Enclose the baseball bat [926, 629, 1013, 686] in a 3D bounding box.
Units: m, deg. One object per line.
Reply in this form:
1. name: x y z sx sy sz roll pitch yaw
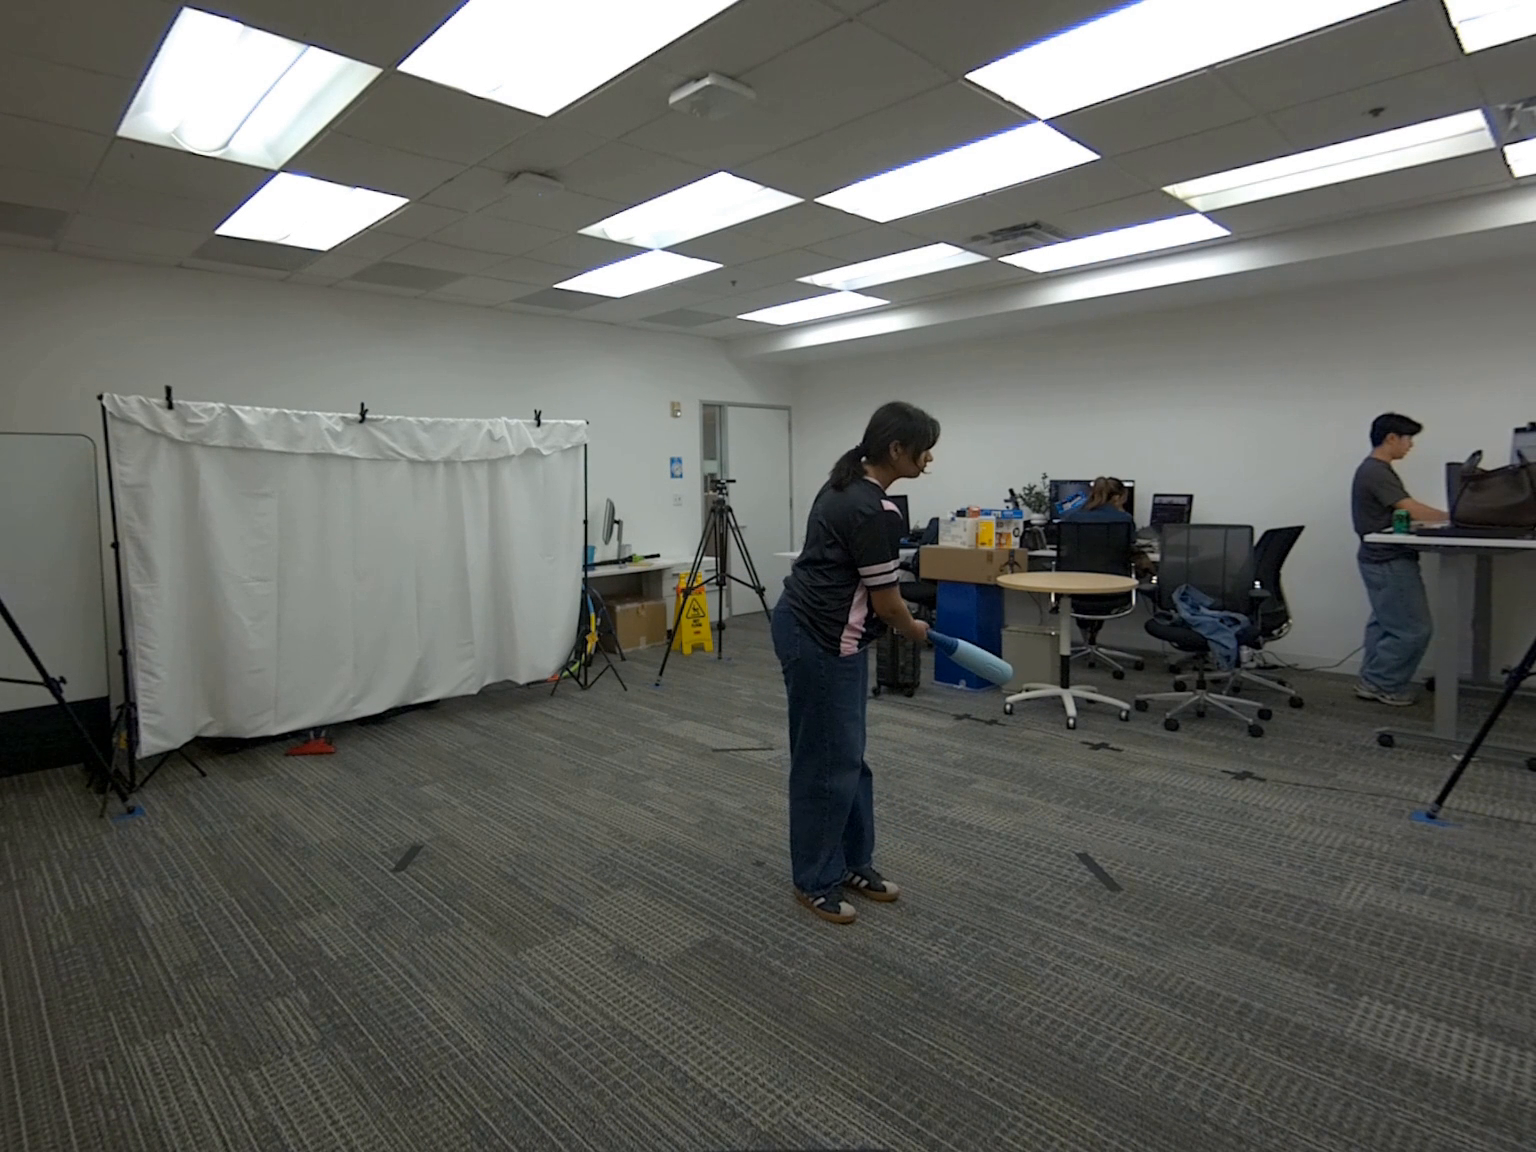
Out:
1. baseball bat: 0.650 0.250 2.992 0.532 0.089 0.091 26 -4 -16
